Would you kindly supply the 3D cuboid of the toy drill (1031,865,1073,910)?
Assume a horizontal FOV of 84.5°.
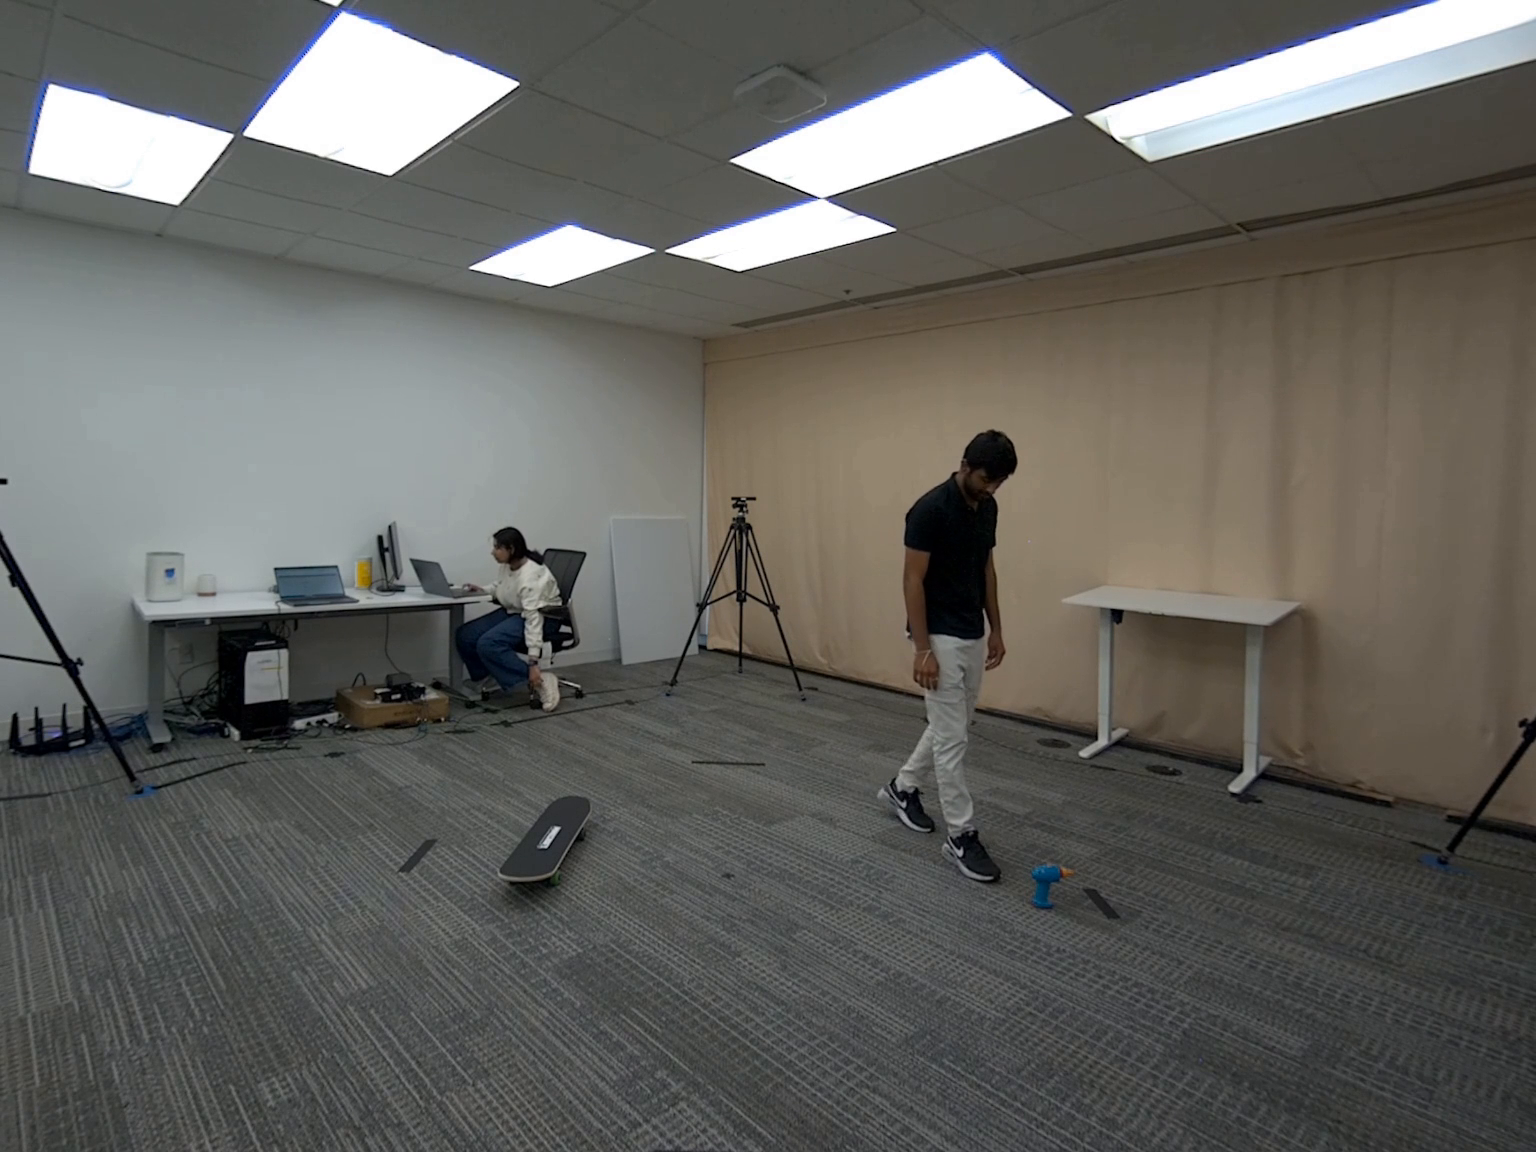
[{"bbox_3d":[0.991,1.084,2.945,0.167,0.146,0.062,4,0,-16],"label":"toy drill"}]
